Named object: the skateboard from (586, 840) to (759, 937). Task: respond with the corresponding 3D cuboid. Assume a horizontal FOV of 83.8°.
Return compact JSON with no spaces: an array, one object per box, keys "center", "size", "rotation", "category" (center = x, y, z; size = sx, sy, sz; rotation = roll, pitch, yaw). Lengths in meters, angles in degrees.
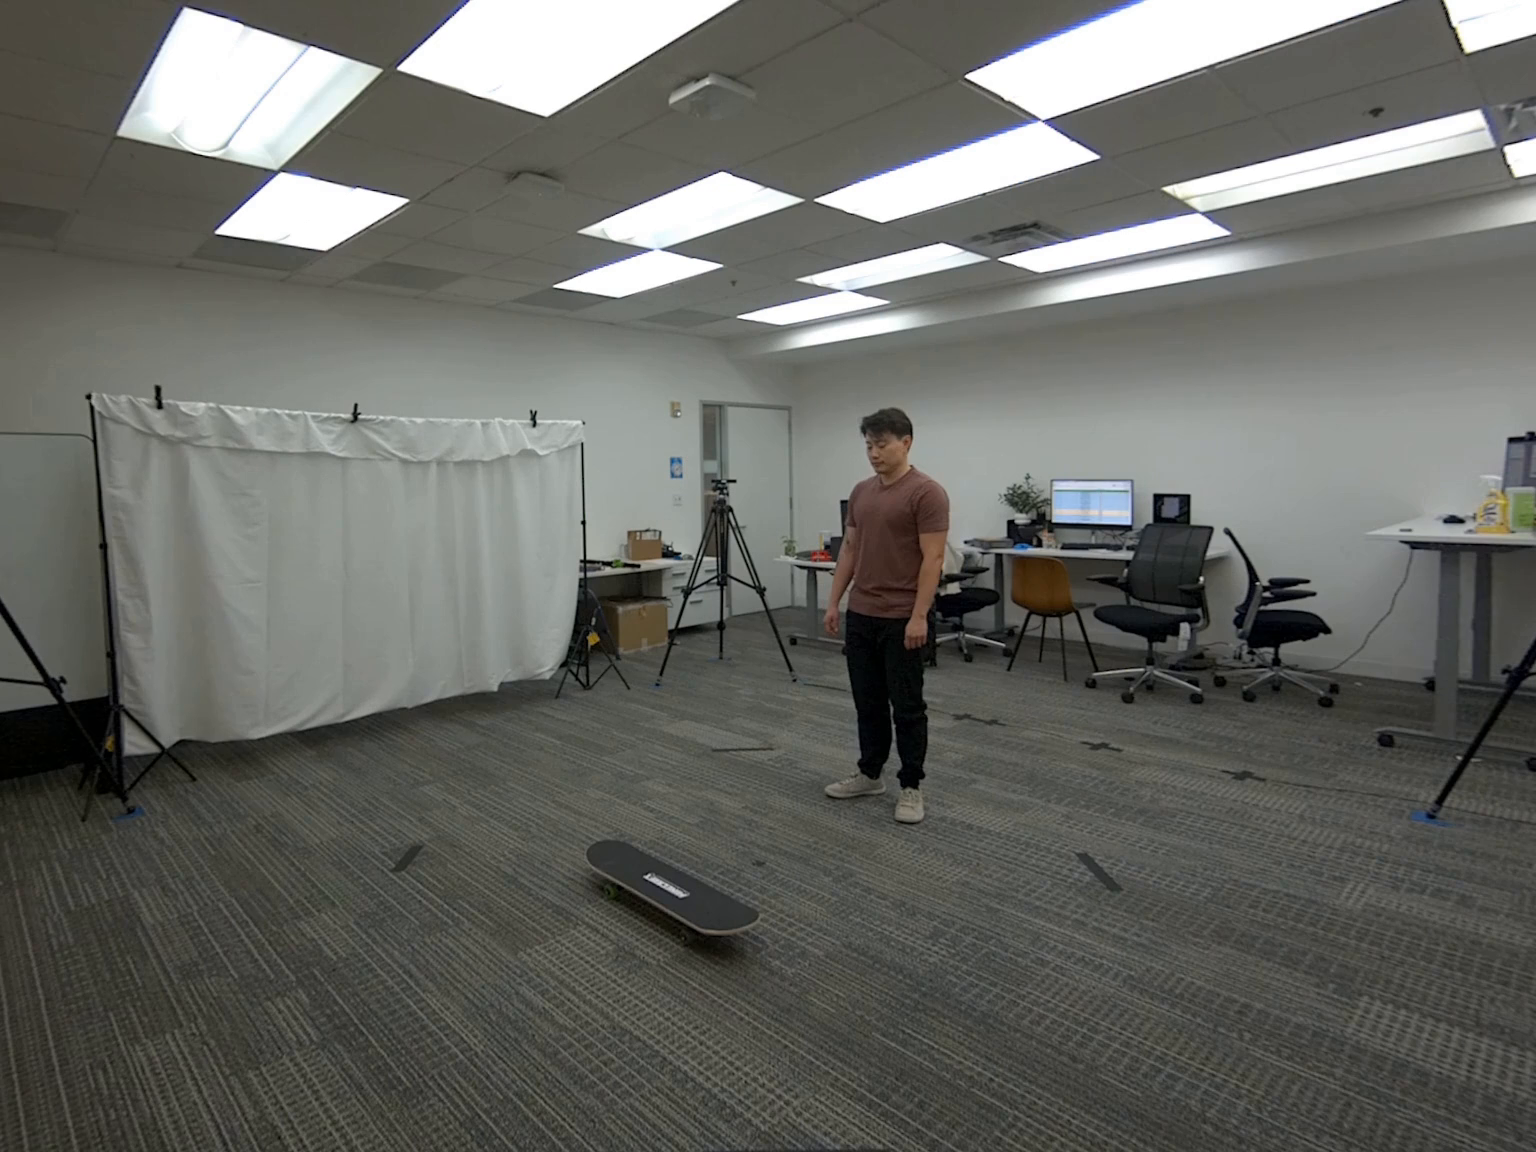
[{"center":[-0.329,1.039,2.766],"size":[0.188,0.110,0.810],"rotation":[-9,10,-43],"category":"skateboard"}]
